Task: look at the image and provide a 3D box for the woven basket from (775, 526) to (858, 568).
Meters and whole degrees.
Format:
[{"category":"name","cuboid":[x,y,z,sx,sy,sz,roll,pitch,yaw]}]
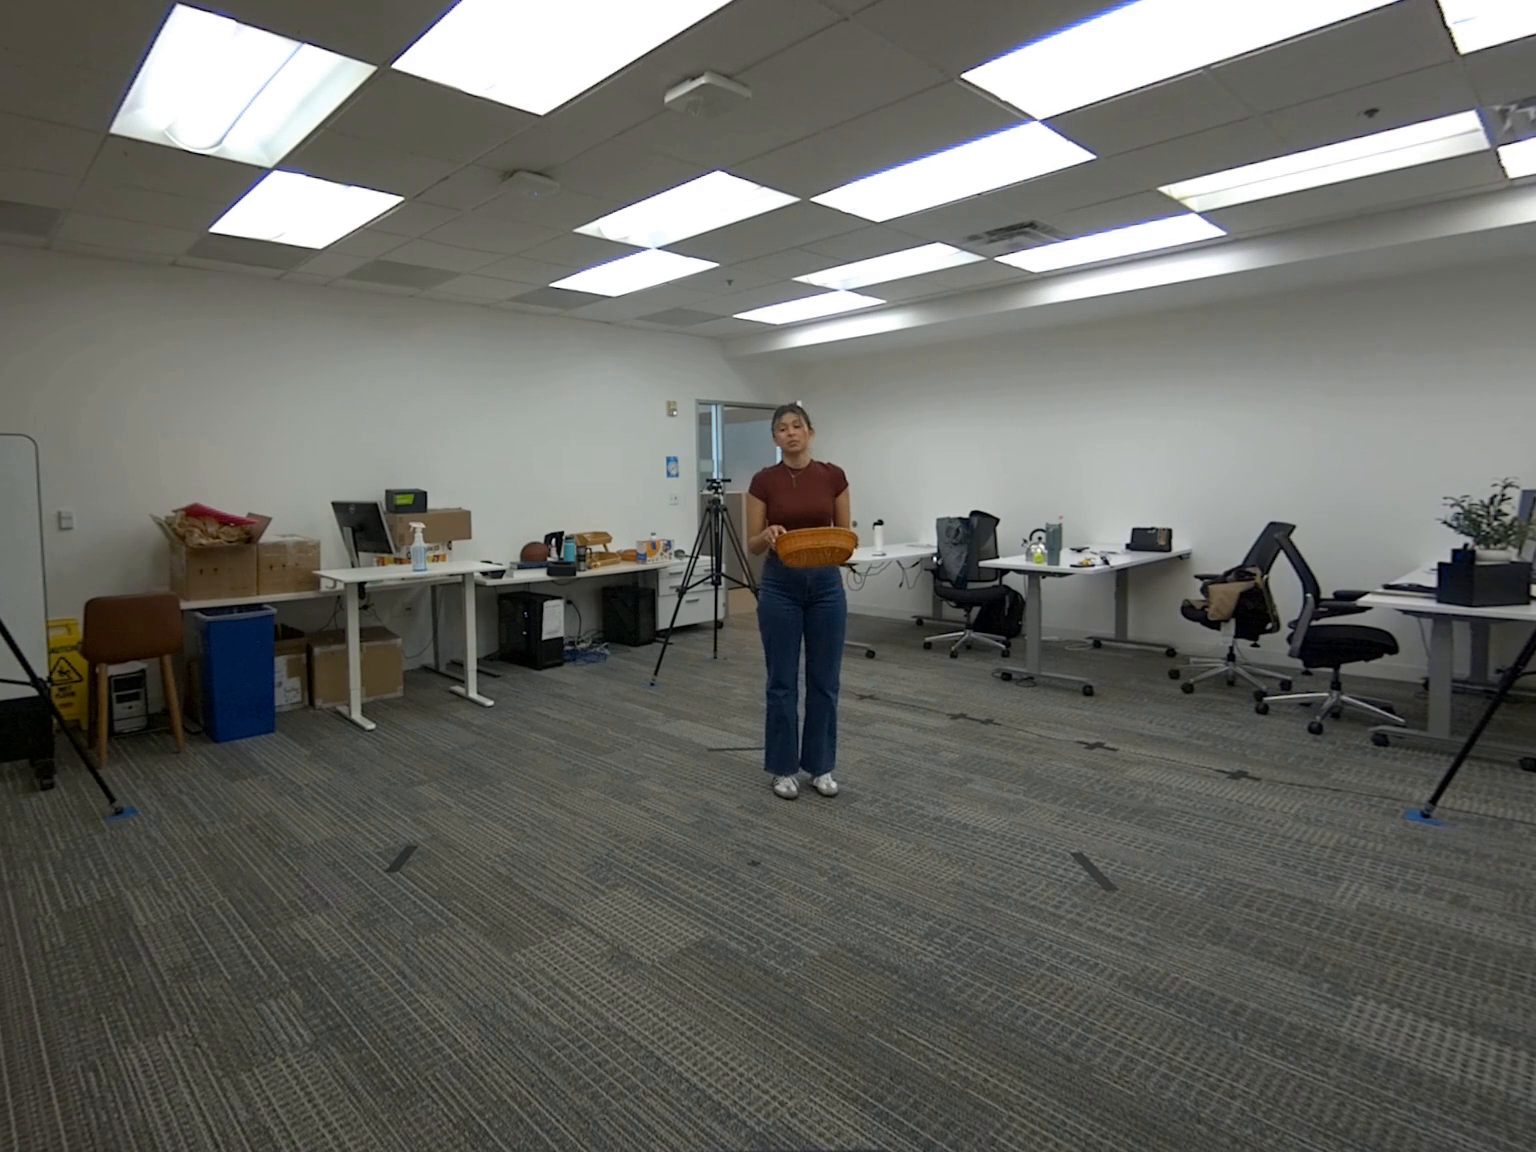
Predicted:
[{"category":"woven basket","cuboid":[0.182,-0.095,3.439,0.353,0.075,0.245,-3,-25,6]}]
